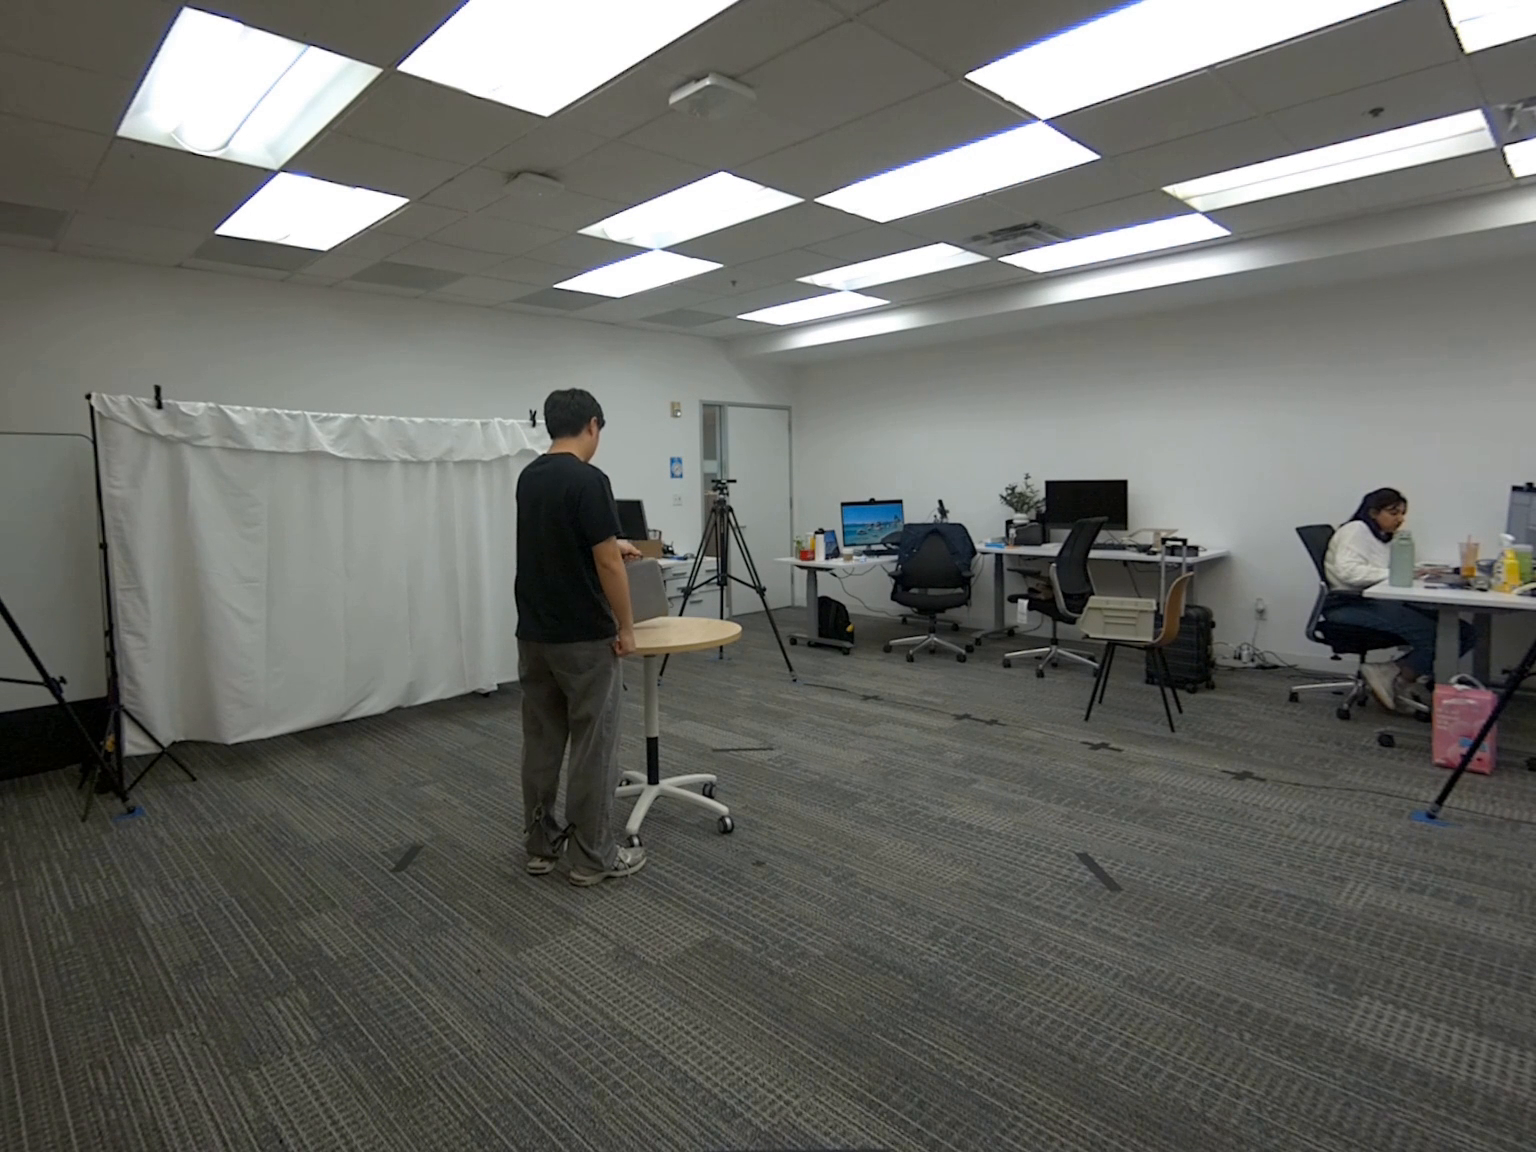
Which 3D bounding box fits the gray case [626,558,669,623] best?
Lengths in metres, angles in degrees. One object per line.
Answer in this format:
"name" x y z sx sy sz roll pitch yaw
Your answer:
"gray case" -0.556 0.054 3.576 0.261 0.285 0.105 -15 6 -14
